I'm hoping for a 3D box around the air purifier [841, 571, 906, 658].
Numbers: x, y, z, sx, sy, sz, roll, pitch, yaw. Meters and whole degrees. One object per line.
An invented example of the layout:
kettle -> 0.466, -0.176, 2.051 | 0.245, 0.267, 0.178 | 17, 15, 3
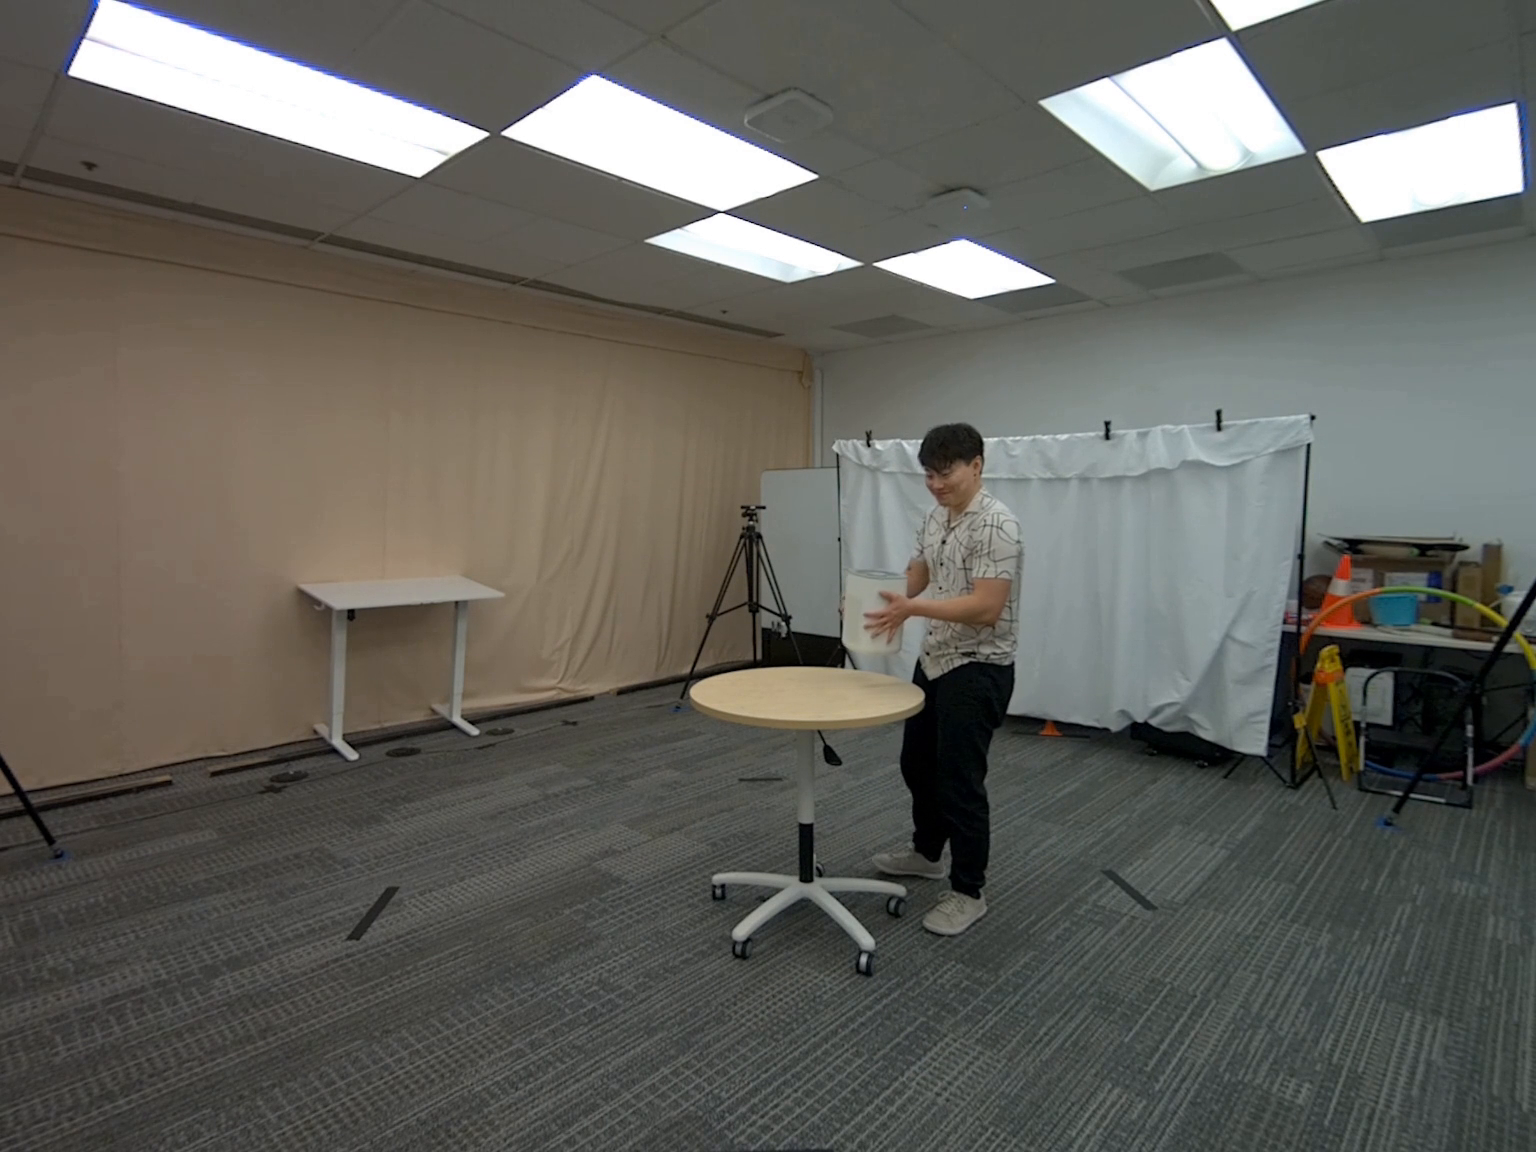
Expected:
air purifier -> 0.368, 0.128, 2.799 | 0.167, 0.264, 0.176 | 2, 9, -22
